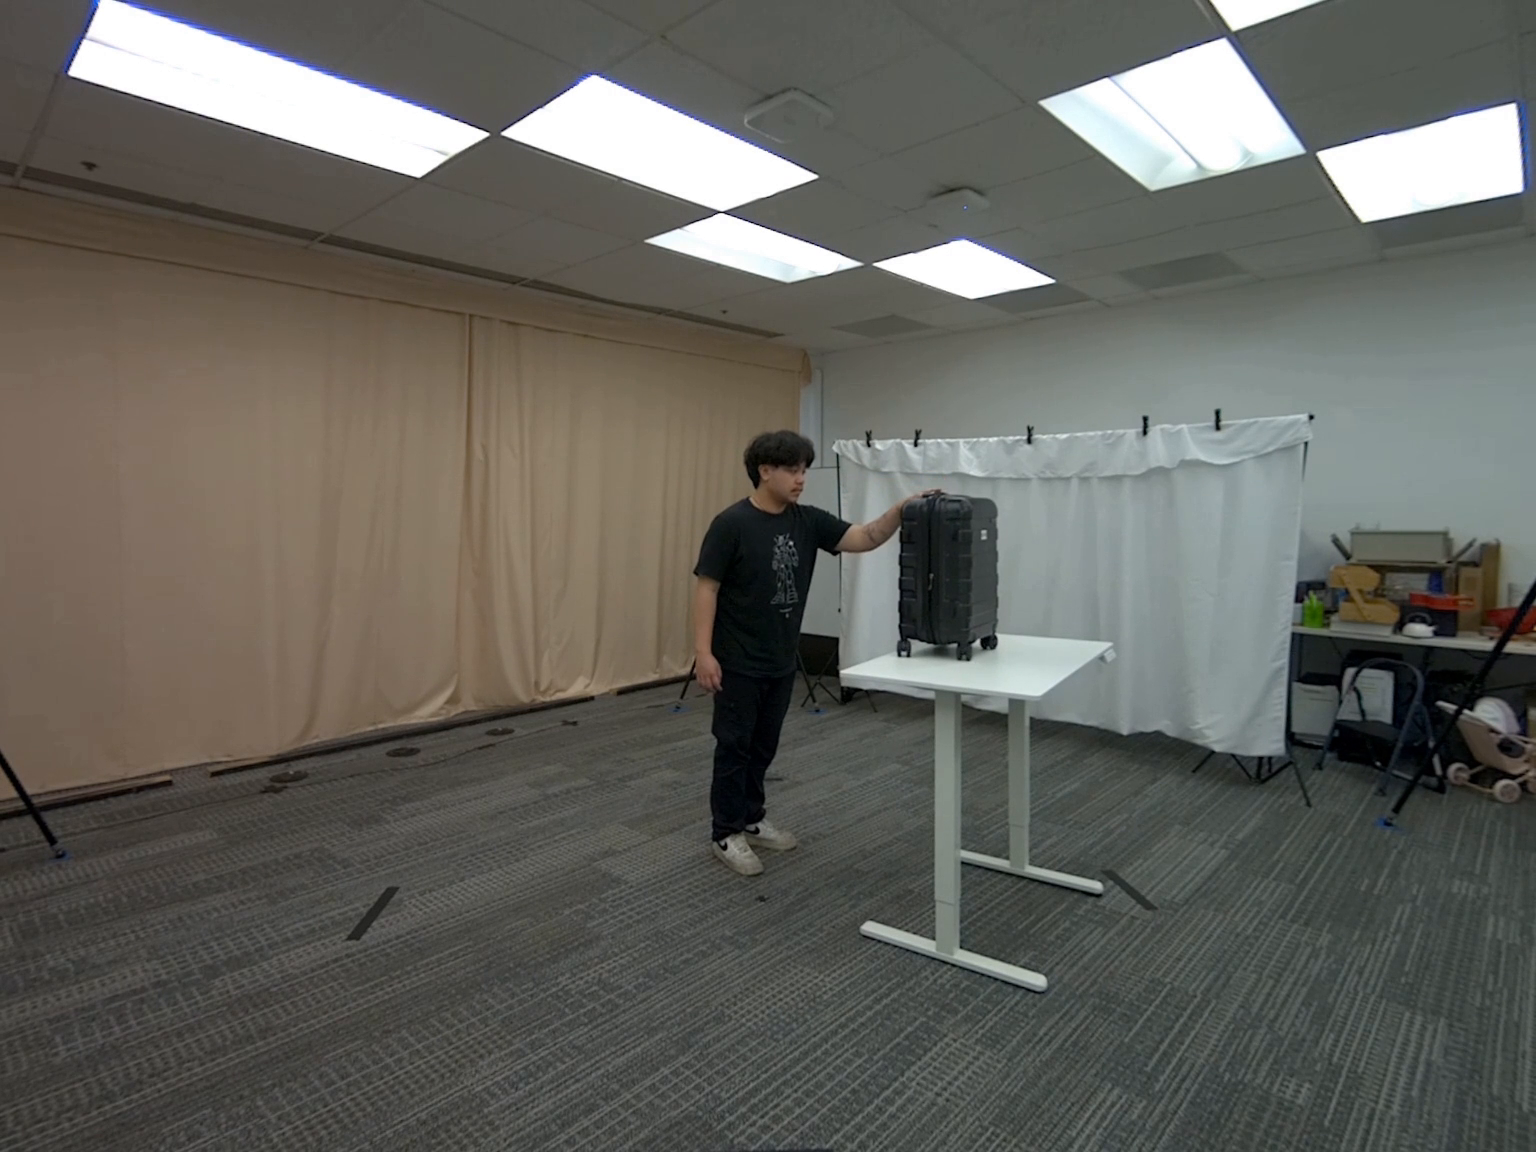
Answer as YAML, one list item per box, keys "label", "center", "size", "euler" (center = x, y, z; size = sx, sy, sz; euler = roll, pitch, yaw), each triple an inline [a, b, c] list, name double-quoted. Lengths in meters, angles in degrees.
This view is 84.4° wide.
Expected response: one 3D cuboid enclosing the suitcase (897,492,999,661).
- label: "suitcase"
  center: [0.637, -0.011, 2.914]
  size: [0.256, 0.548, 0.365]
  euler: [2, 4, 34]
